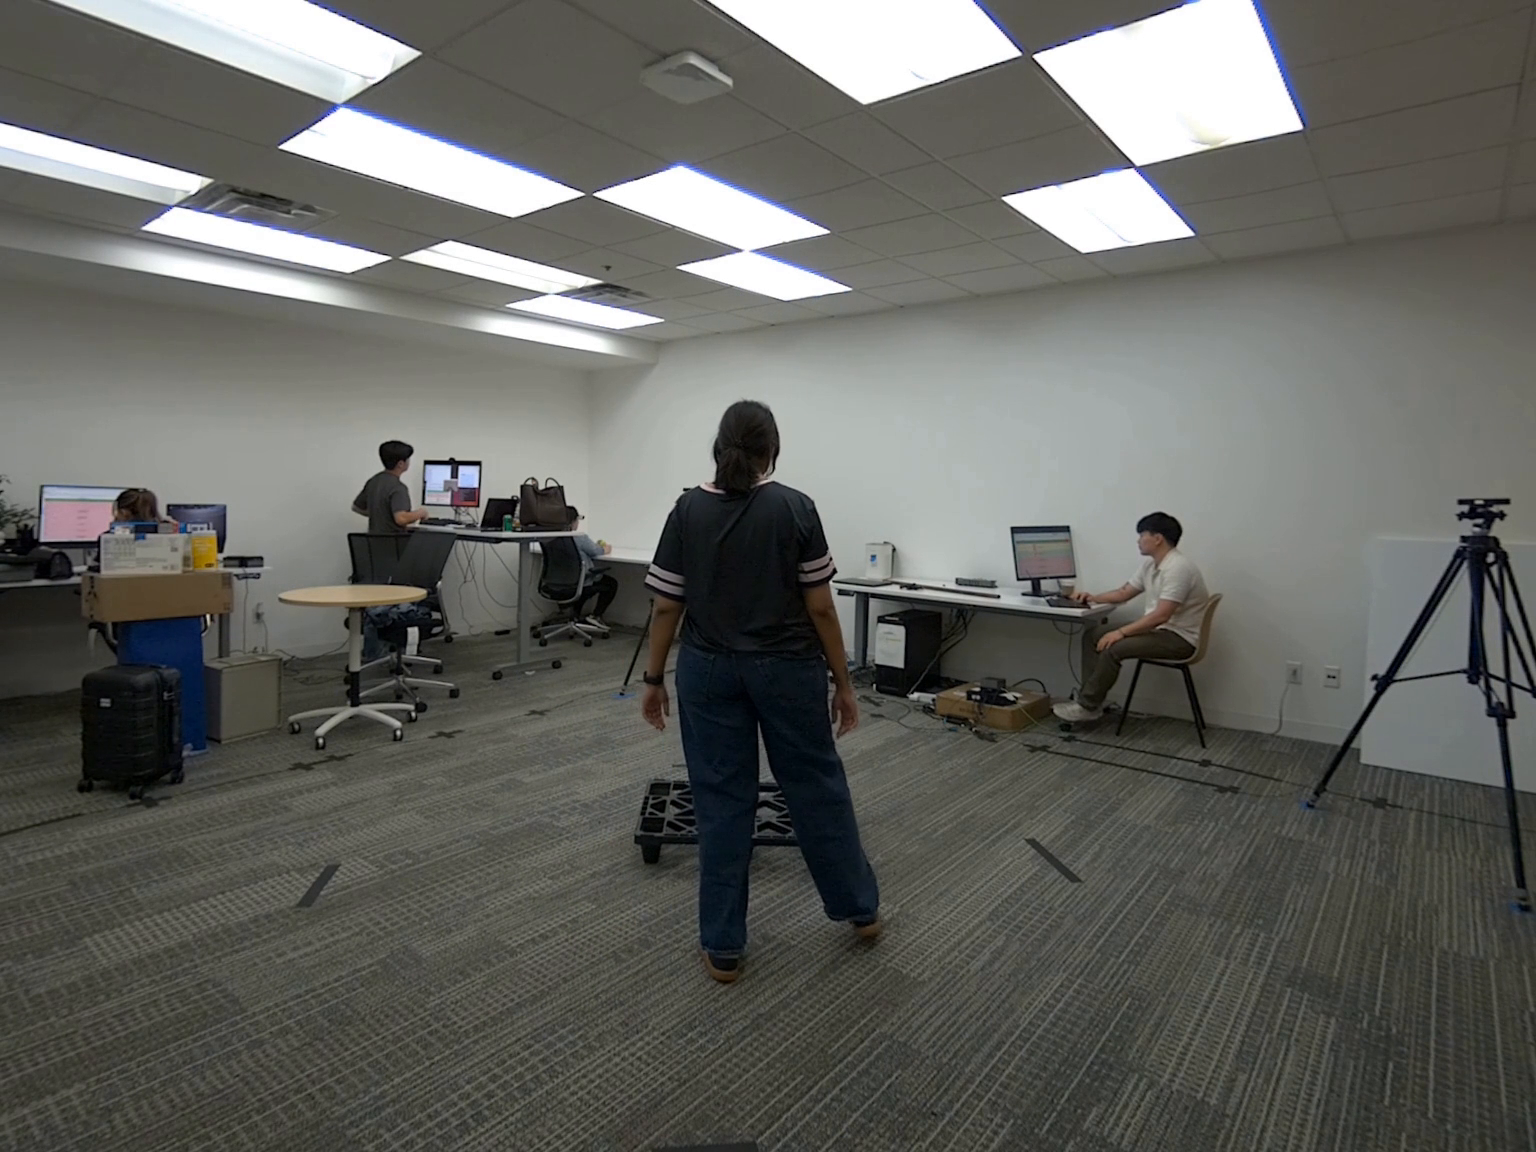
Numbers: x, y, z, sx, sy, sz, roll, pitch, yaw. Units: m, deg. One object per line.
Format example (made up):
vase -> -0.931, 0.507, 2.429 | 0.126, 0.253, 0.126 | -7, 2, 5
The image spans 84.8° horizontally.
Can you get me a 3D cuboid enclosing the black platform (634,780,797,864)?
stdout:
black platform -> -0.114, 0.973, 3.367 | 0.806, 0.143, 0.608 | 0, 6, -1
